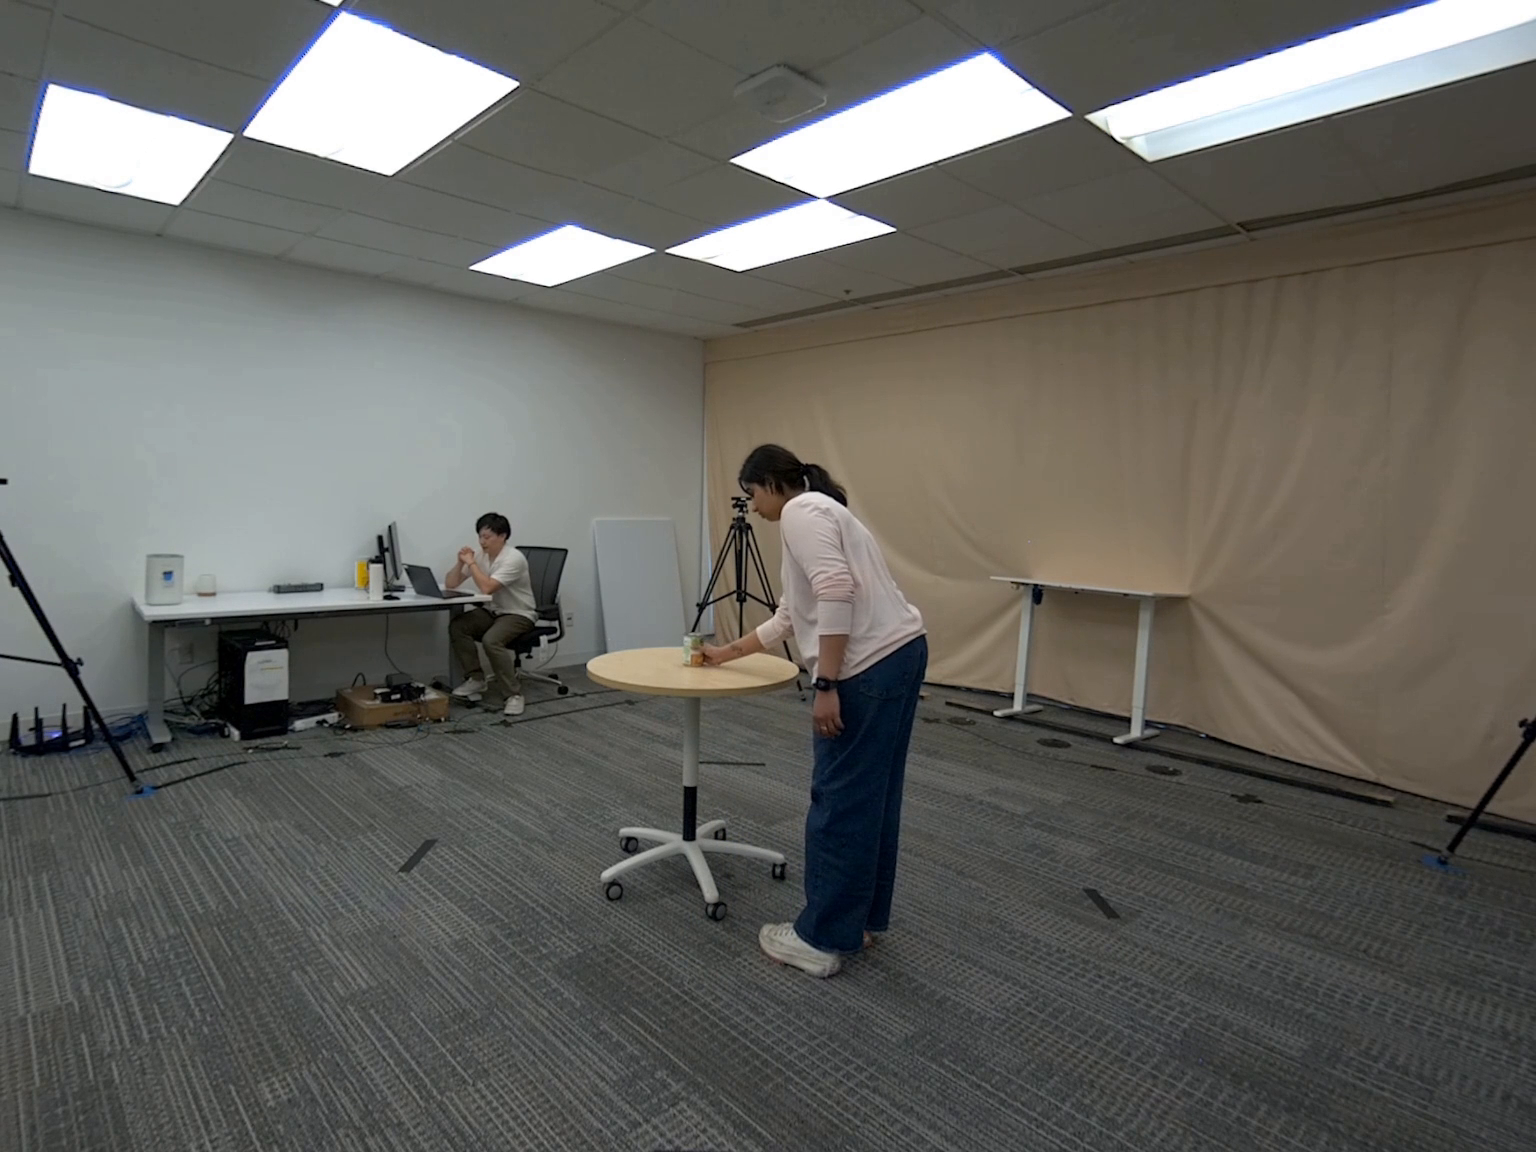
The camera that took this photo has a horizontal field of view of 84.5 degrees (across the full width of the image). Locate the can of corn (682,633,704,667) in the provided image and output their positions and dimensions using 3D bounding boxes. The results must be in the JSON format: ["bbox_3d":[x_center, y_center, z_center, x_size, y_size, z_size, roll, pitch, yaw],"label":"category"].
[{"bbox_3d":[-0.270,0.267,3.046,0.074,0.111,0.074,1,2,-1],"label":"can of corn"}]
